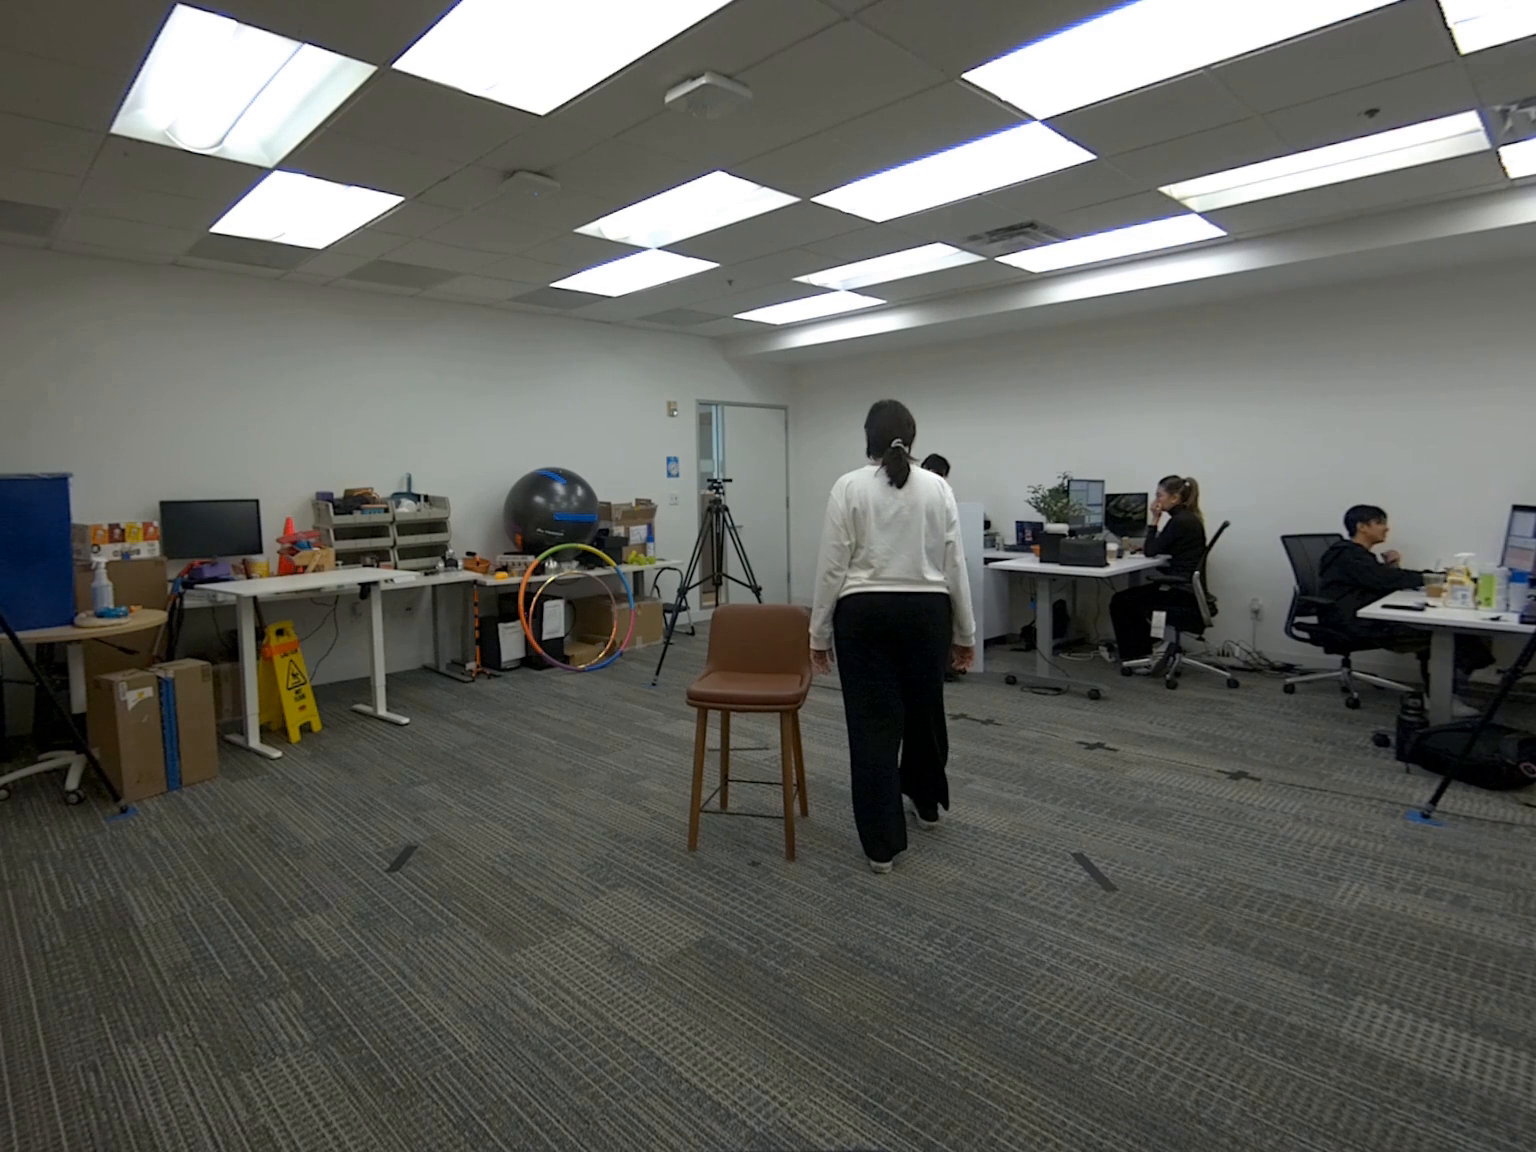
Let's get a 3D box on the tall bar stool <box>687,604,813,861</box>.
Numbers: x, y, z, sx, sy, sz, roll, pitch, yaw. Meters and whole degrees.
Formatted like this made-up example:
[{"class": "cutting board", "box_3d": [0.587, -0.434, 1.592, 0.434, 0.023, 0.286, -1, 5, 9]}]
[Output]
[{"class": "tall bar stool", "box_3d": [-0.066, 0.580, 3.371, 0.463, 0.888, 0.461, 1, 2, 15]}]
